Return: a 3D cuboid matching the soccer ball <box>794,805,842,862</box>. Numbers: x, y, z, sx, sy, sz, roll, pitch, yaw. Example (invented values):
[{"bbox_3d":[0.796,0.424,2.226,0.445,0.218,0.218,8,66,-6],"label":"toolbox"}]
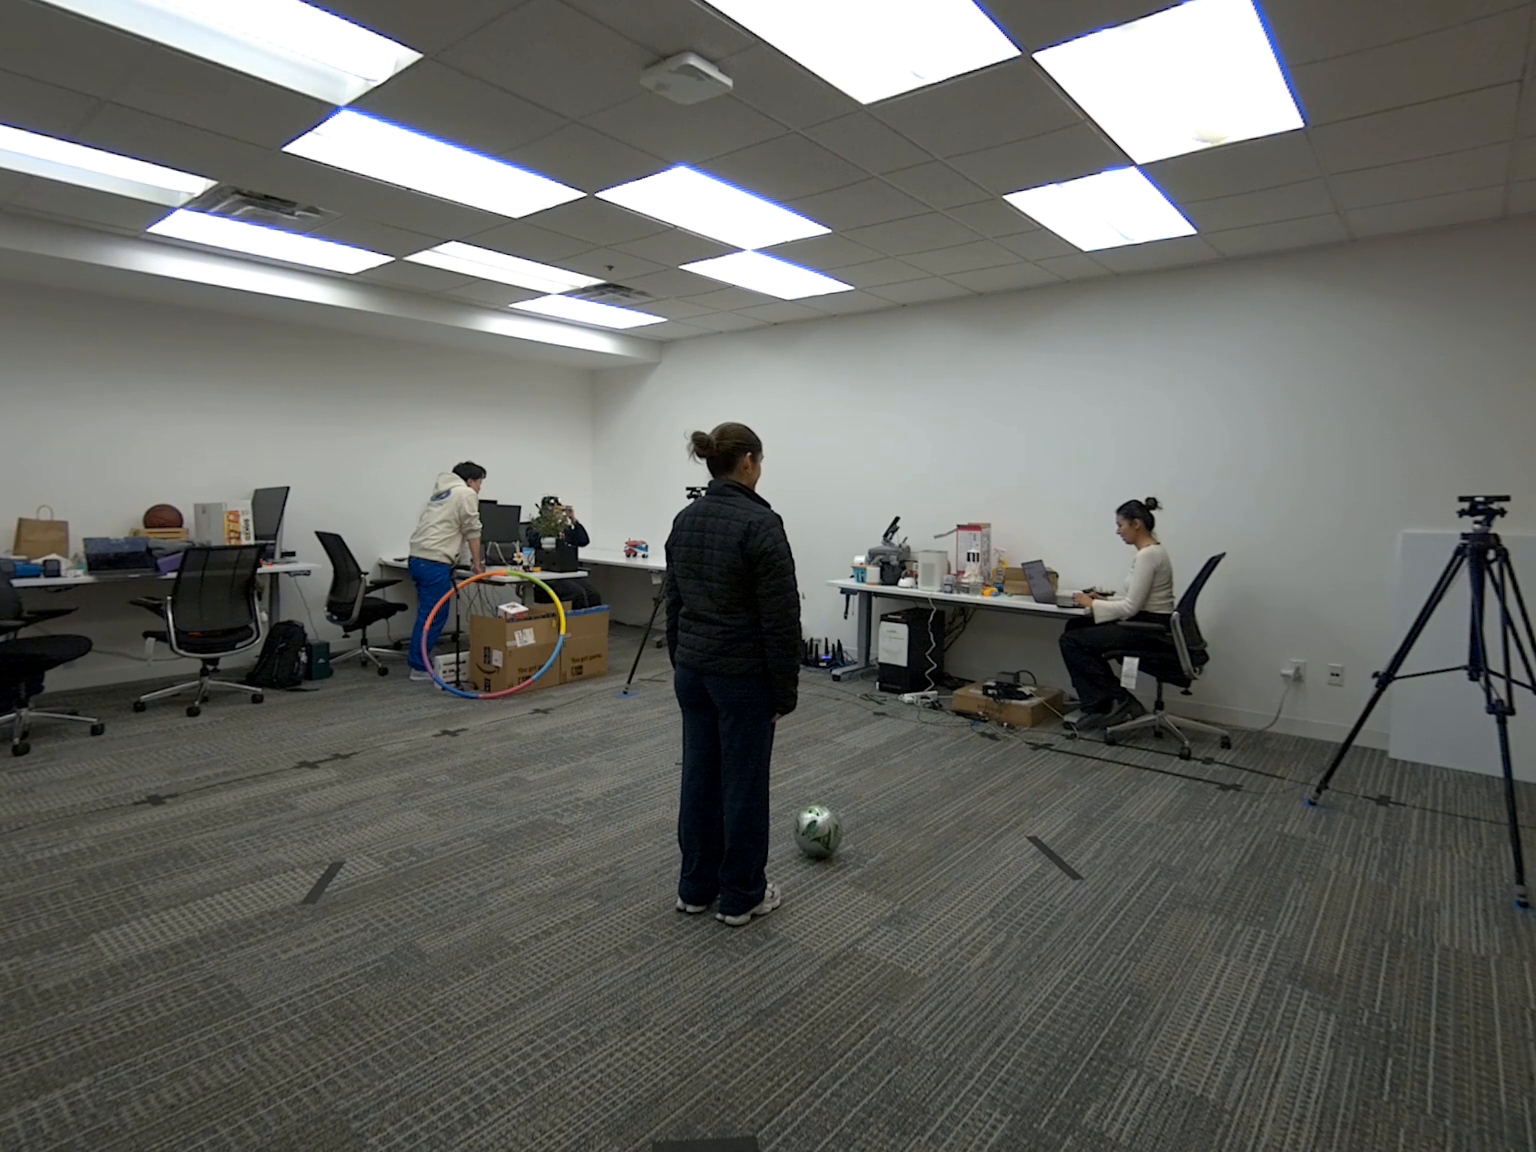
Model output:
[{"bbox_3d":[0.177,0.967,3.236,0.187,0.187,0.188,1,4,-2],"label":"soccer ball"}]
